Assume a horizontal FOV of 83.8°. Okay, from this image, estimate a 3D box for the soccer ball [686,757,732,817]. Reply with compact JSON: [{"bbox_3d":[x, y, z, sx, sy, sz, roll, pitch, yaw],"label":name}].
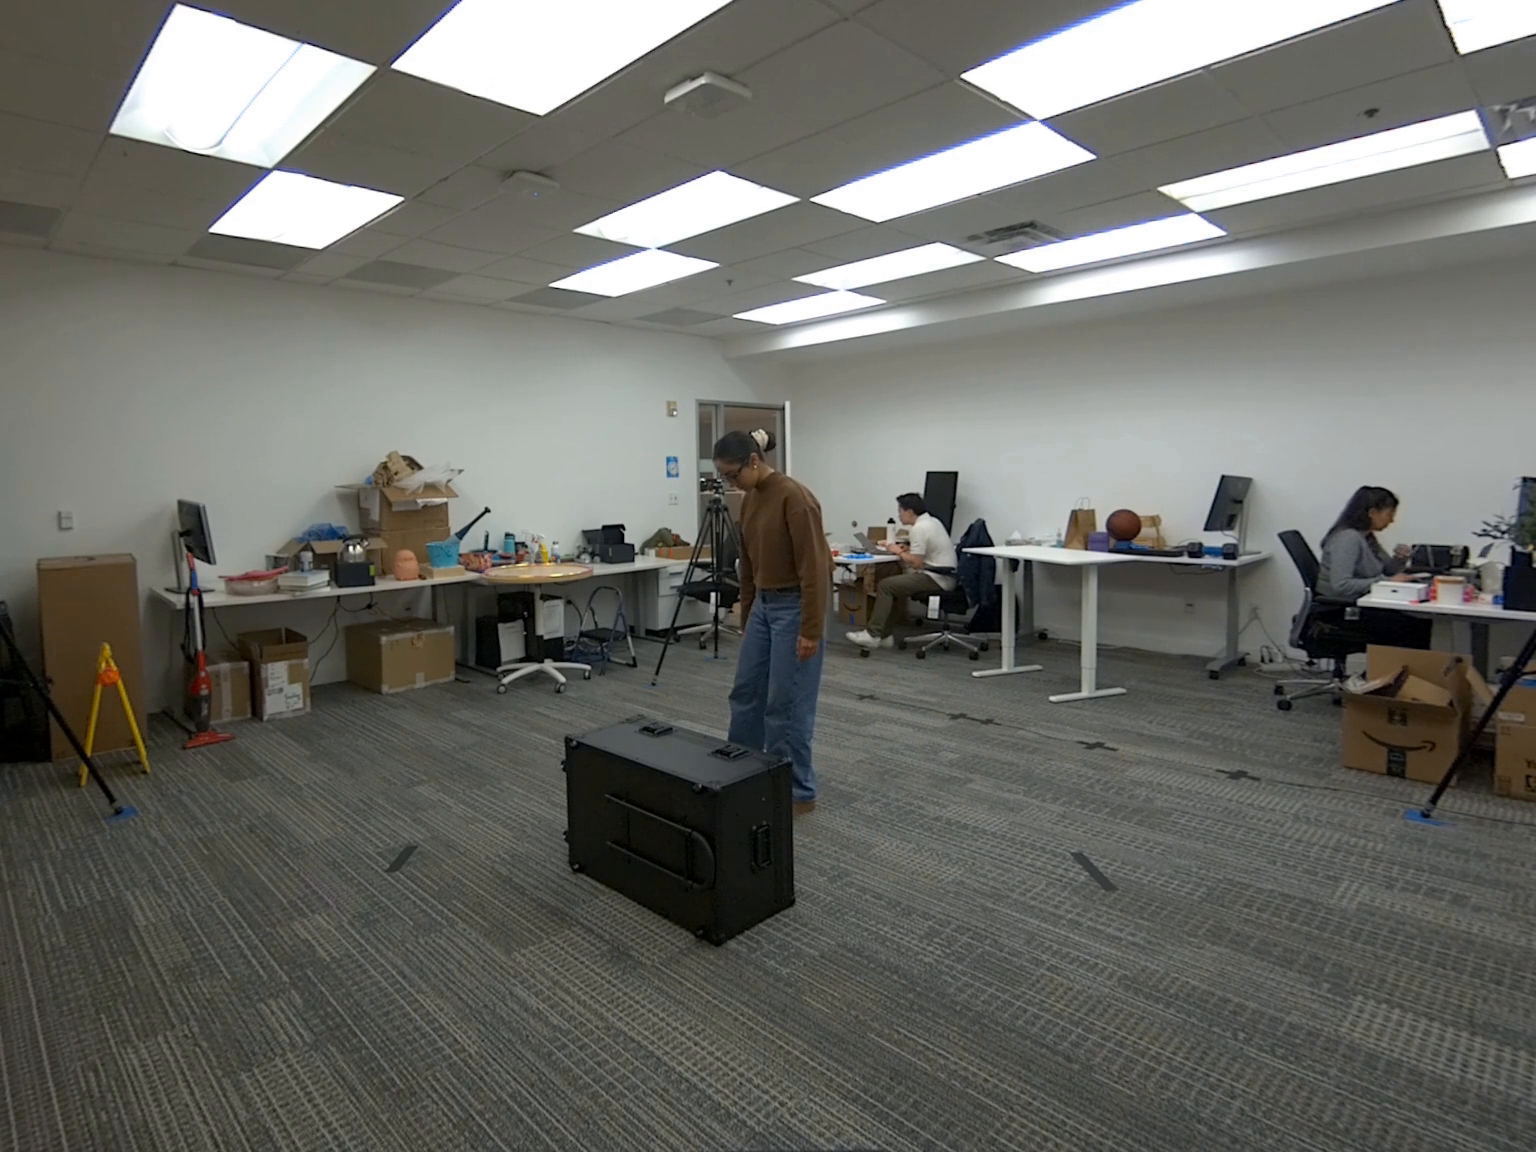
[{"bbox_3d":[-0.253,0.900,3.669,0.187,0.187,0.188,-1,5,-2],"label":"soccer ball"}]
